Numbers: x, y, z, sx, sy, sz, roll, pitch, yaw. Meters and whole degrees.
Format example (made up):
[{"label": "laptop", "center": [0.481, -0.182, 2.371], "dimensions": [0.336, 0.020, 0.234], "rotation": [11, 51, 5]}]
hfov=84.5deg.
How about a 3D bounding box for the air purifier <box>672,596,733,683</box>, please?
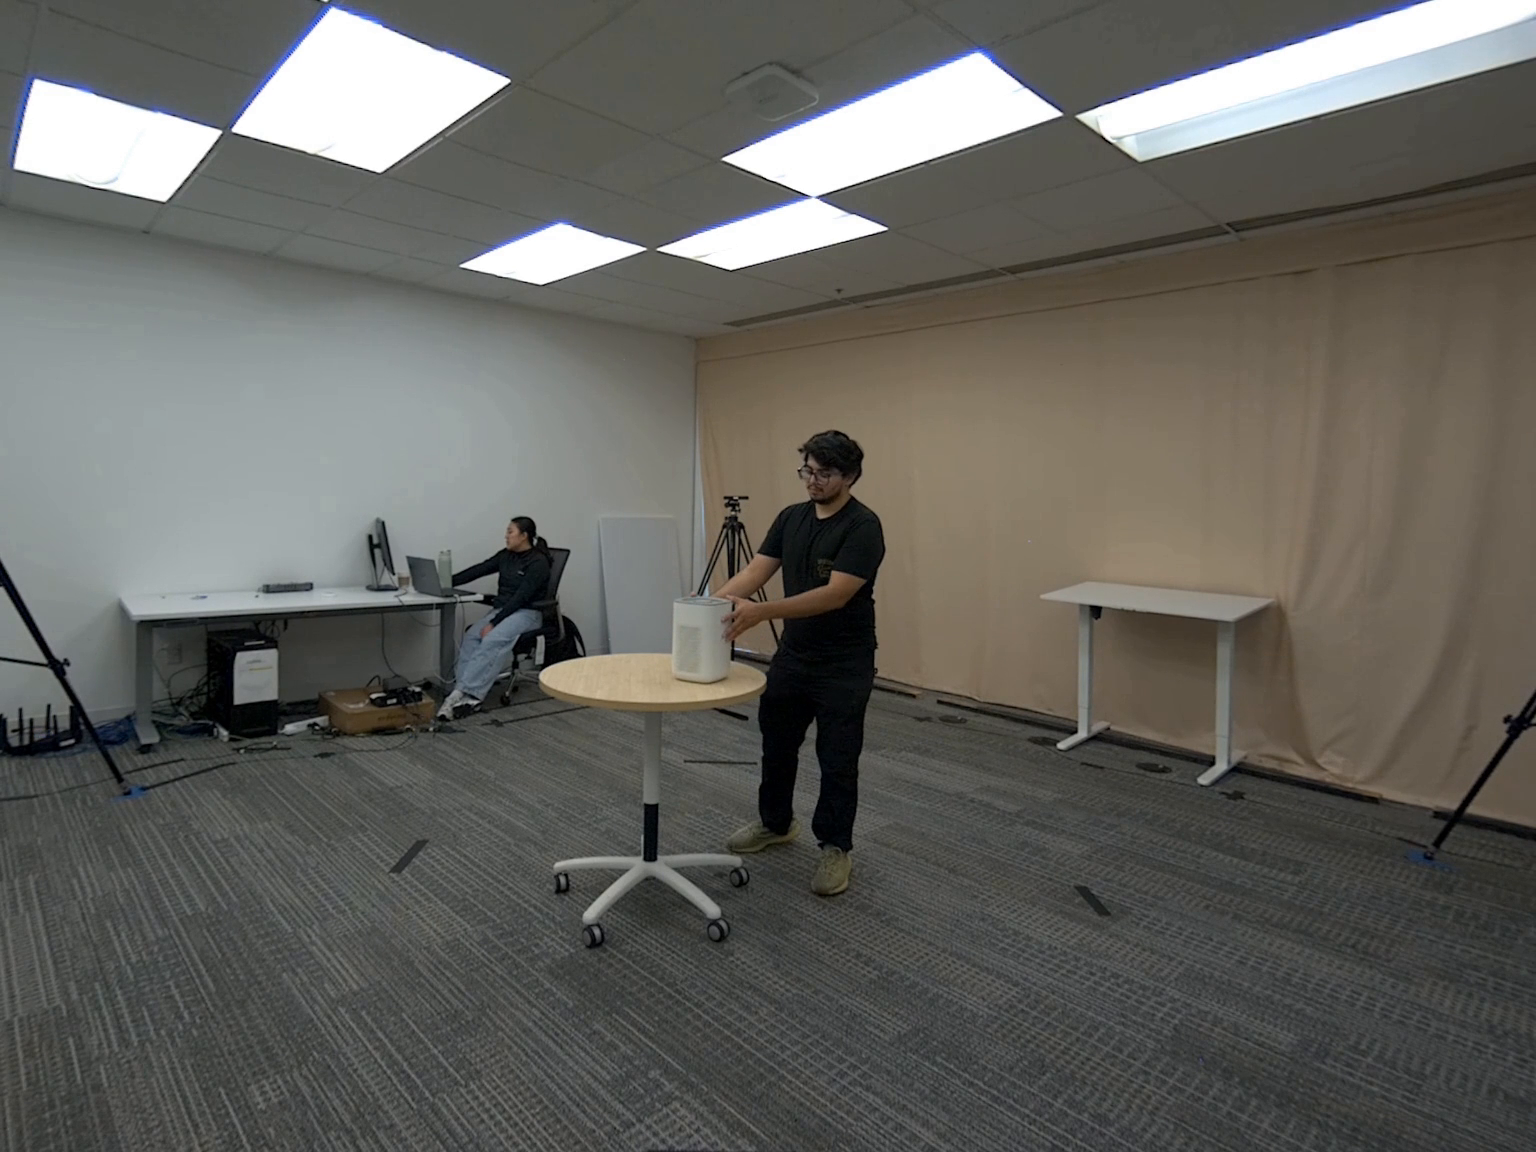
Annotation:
[{"label": "air purifier", "center": [-0.224, 0.212, 2.821], "dimensions": [0.175, 0.264, 0.168], "rotation": [5, 5, 28]}]
